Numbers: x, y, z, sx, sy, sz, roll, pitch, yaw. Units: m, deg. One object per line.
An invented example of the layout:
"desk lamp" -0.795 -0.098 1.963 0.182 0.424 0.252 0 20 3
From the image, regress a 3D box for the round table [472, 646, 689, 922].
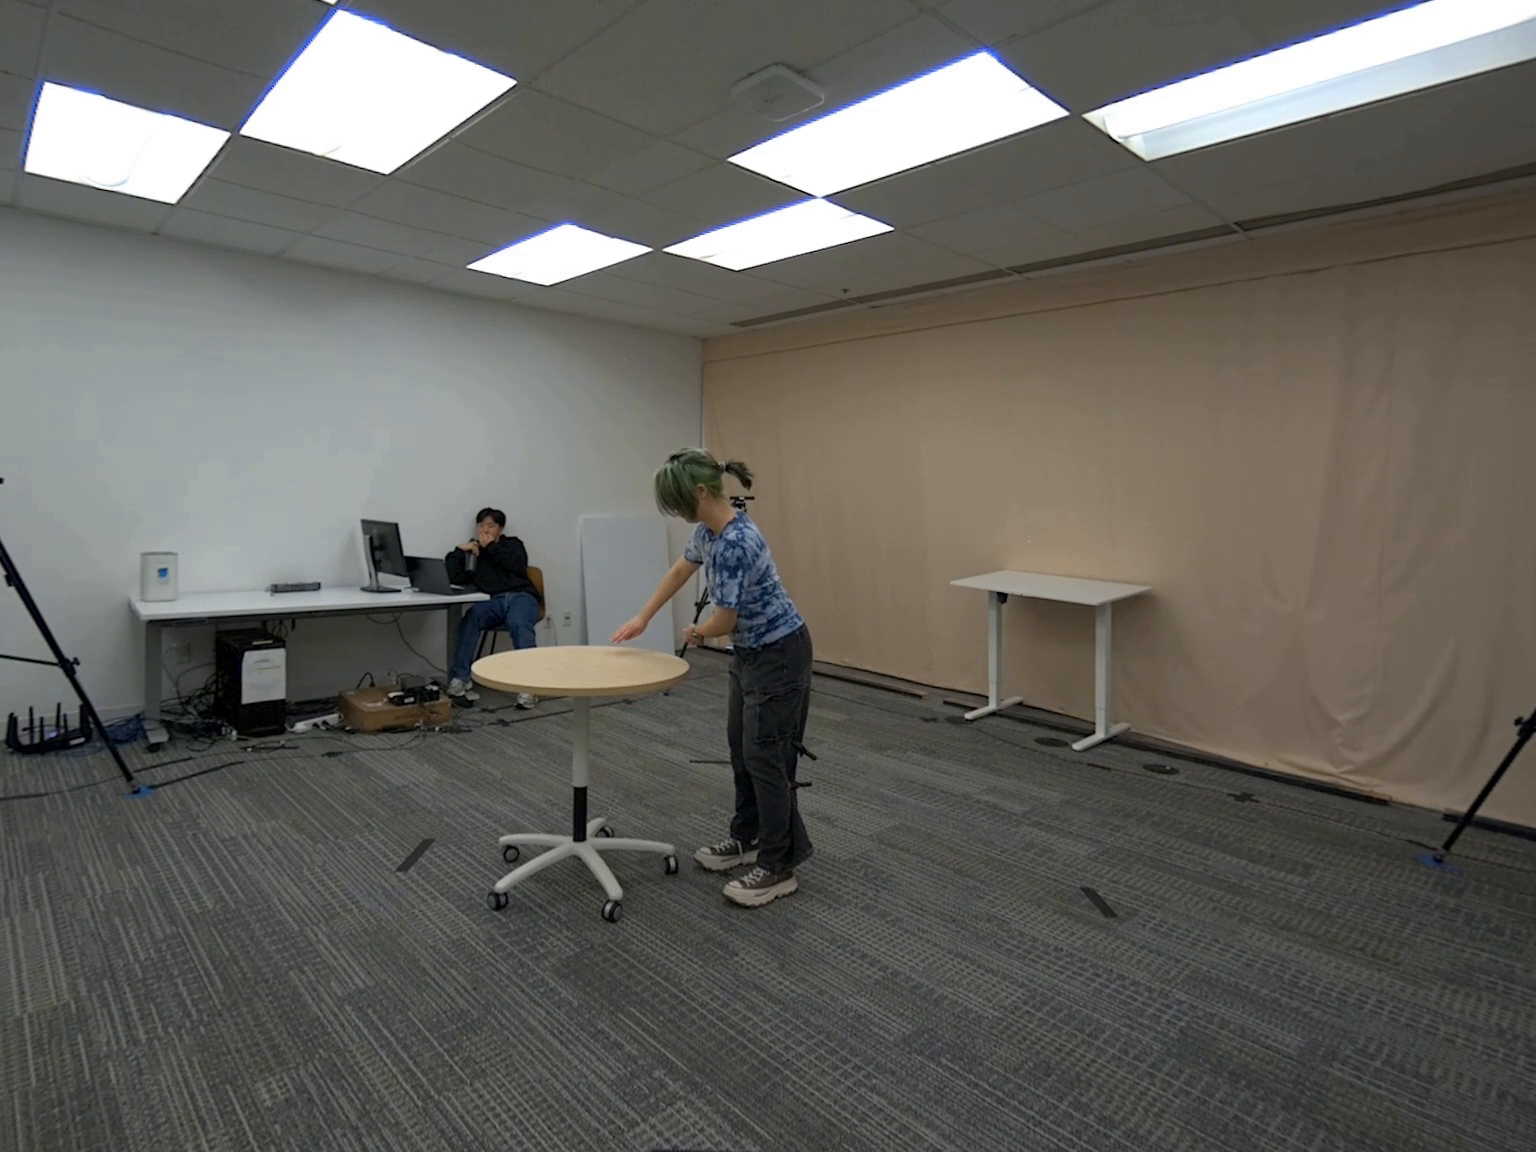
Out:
"round table" -0.676 0.709 3.032 0.763 0.792 0.766 1 4 -1
